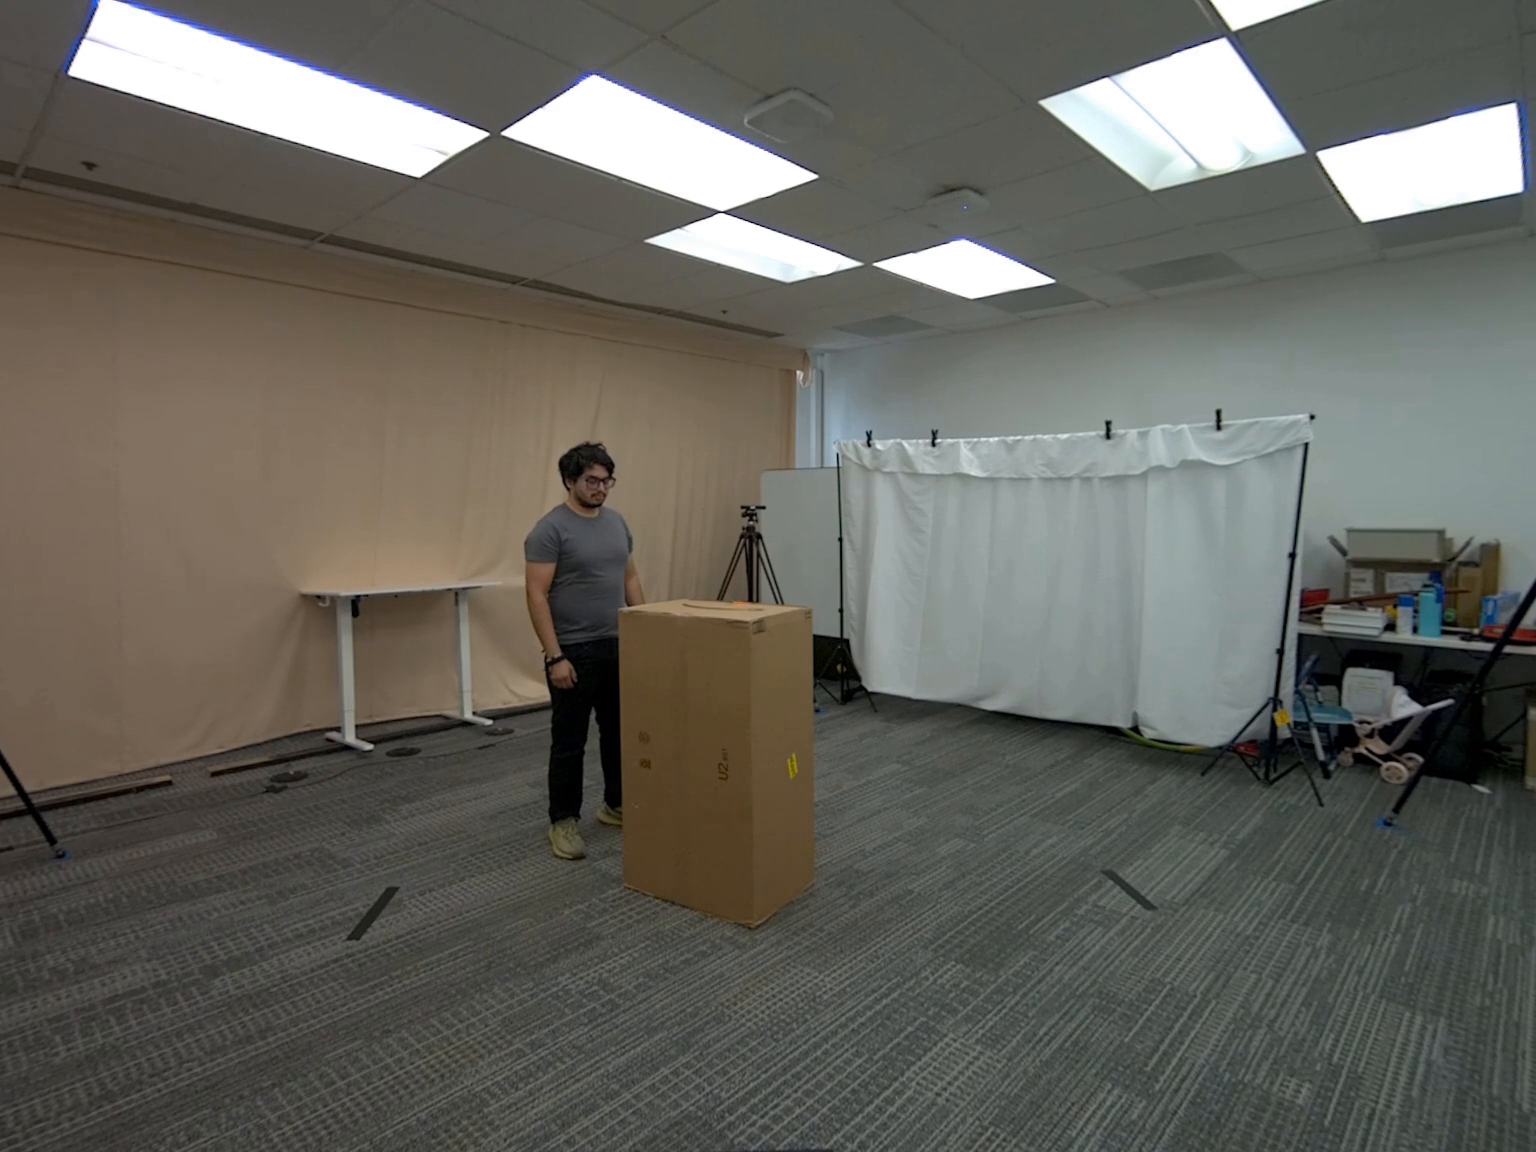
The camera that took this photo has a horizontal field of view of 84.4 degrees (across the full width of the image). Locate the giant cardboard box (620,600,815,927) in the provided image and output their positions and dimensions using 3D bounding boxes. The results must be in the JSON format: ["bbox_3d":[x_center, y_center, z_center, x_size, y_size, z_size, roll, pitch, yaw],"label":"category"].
[{"bbox_3d":[-0.181,0.632,3.076,0.602,1.025,0.434,2,4,33],"label":"giant cardboard box"}]
